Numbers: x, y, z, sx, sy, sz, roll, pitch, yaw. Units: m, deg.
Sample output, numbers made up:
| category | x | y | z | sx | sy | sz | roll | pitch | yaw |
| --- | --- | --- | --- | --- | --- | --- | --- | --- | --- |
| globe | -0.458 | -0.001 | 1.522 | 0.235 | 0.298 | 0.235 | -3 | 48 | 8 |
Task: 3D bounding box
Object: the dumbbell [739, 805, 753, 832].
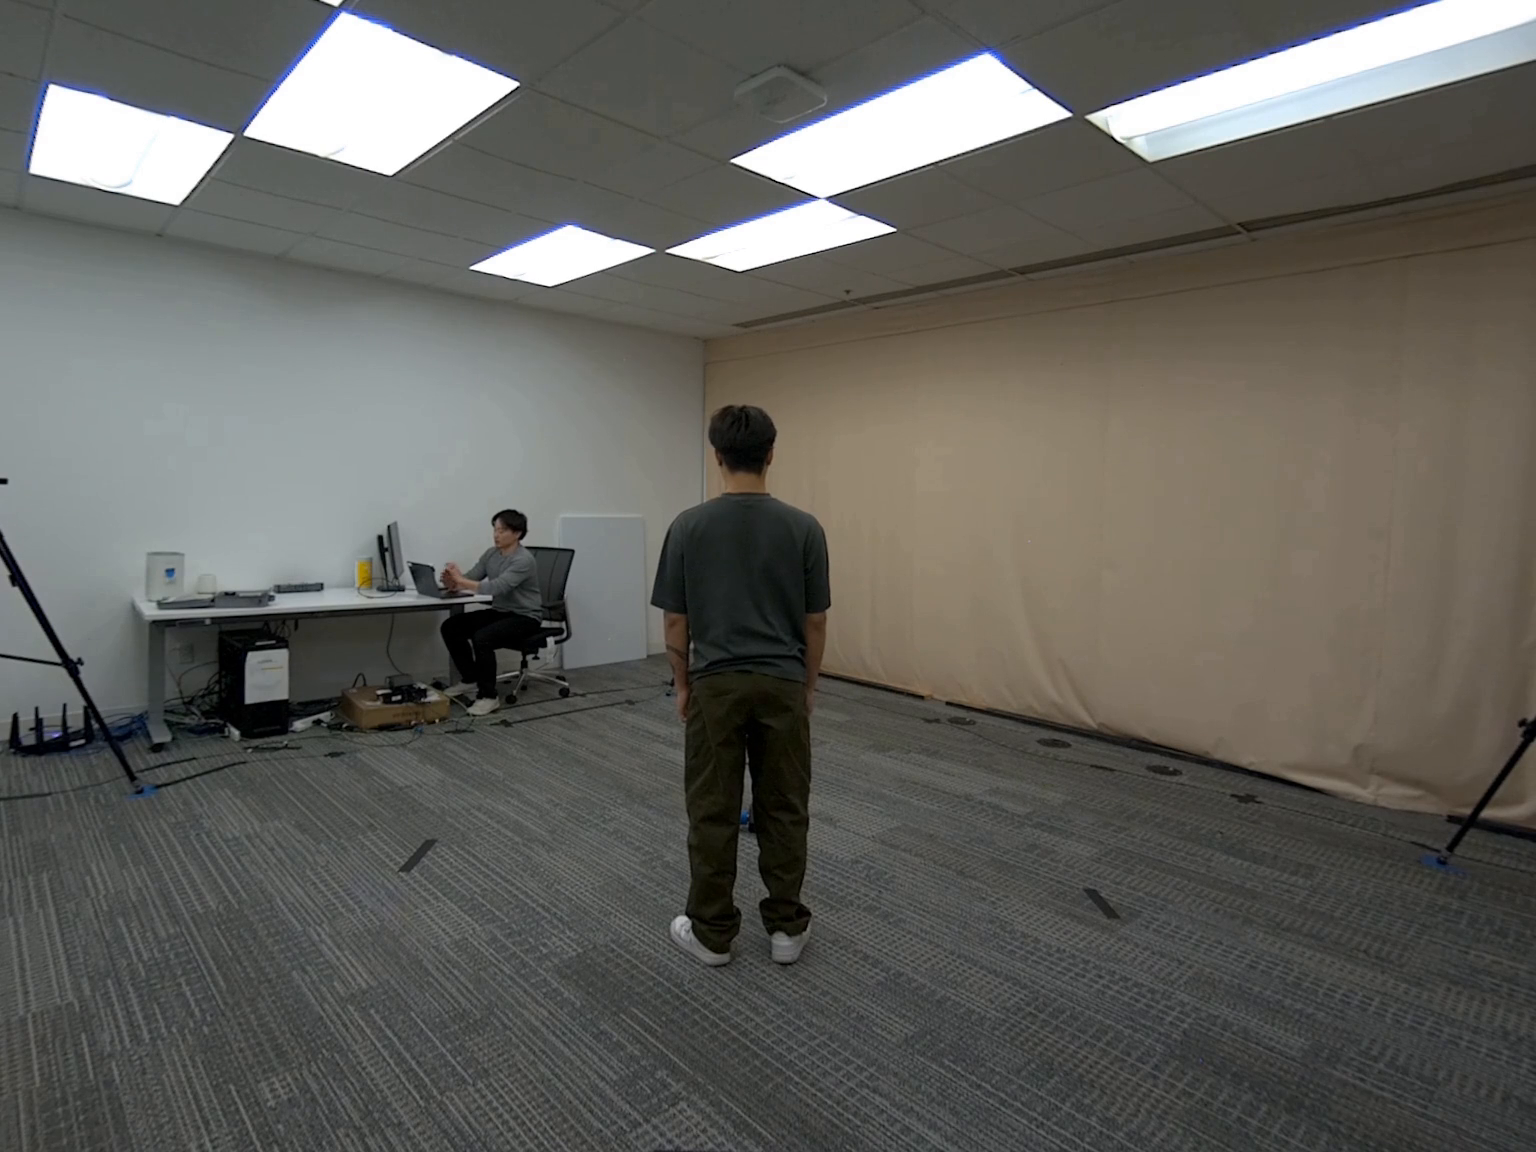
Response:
| category | x | y | z | sx | sy | sz | roll | pitch | yaw |
| --- | --- | --- | --- | --- | --- | --- | --- | --- | --- |
| dumbbell | -0.152 | 1.020 | 3.540 | 0.294 | 0.120 | 0.110 | 2 | 35 | 4 |
